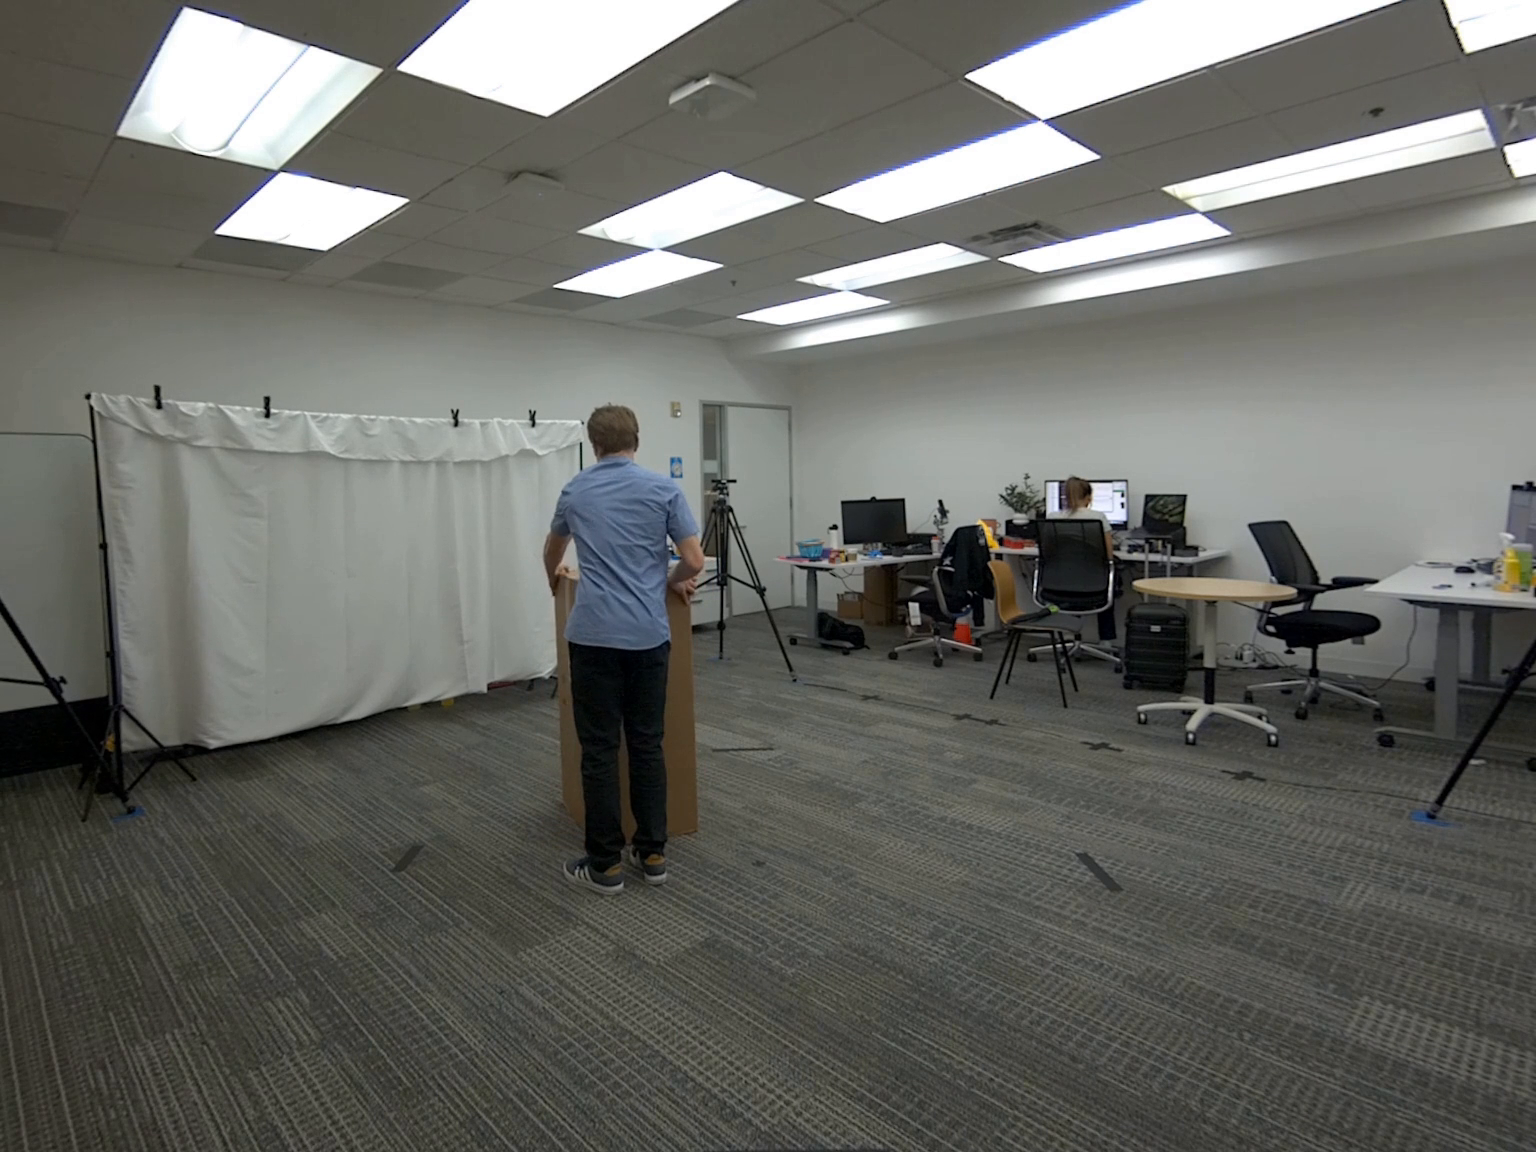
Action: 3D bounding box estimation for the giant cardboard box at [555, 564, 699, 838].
[{"bbox_3d":[-0.602,0.500,3.565,0.417,1.023,0.591,-3,3,-25],"label":"giant cardboard box"}]
